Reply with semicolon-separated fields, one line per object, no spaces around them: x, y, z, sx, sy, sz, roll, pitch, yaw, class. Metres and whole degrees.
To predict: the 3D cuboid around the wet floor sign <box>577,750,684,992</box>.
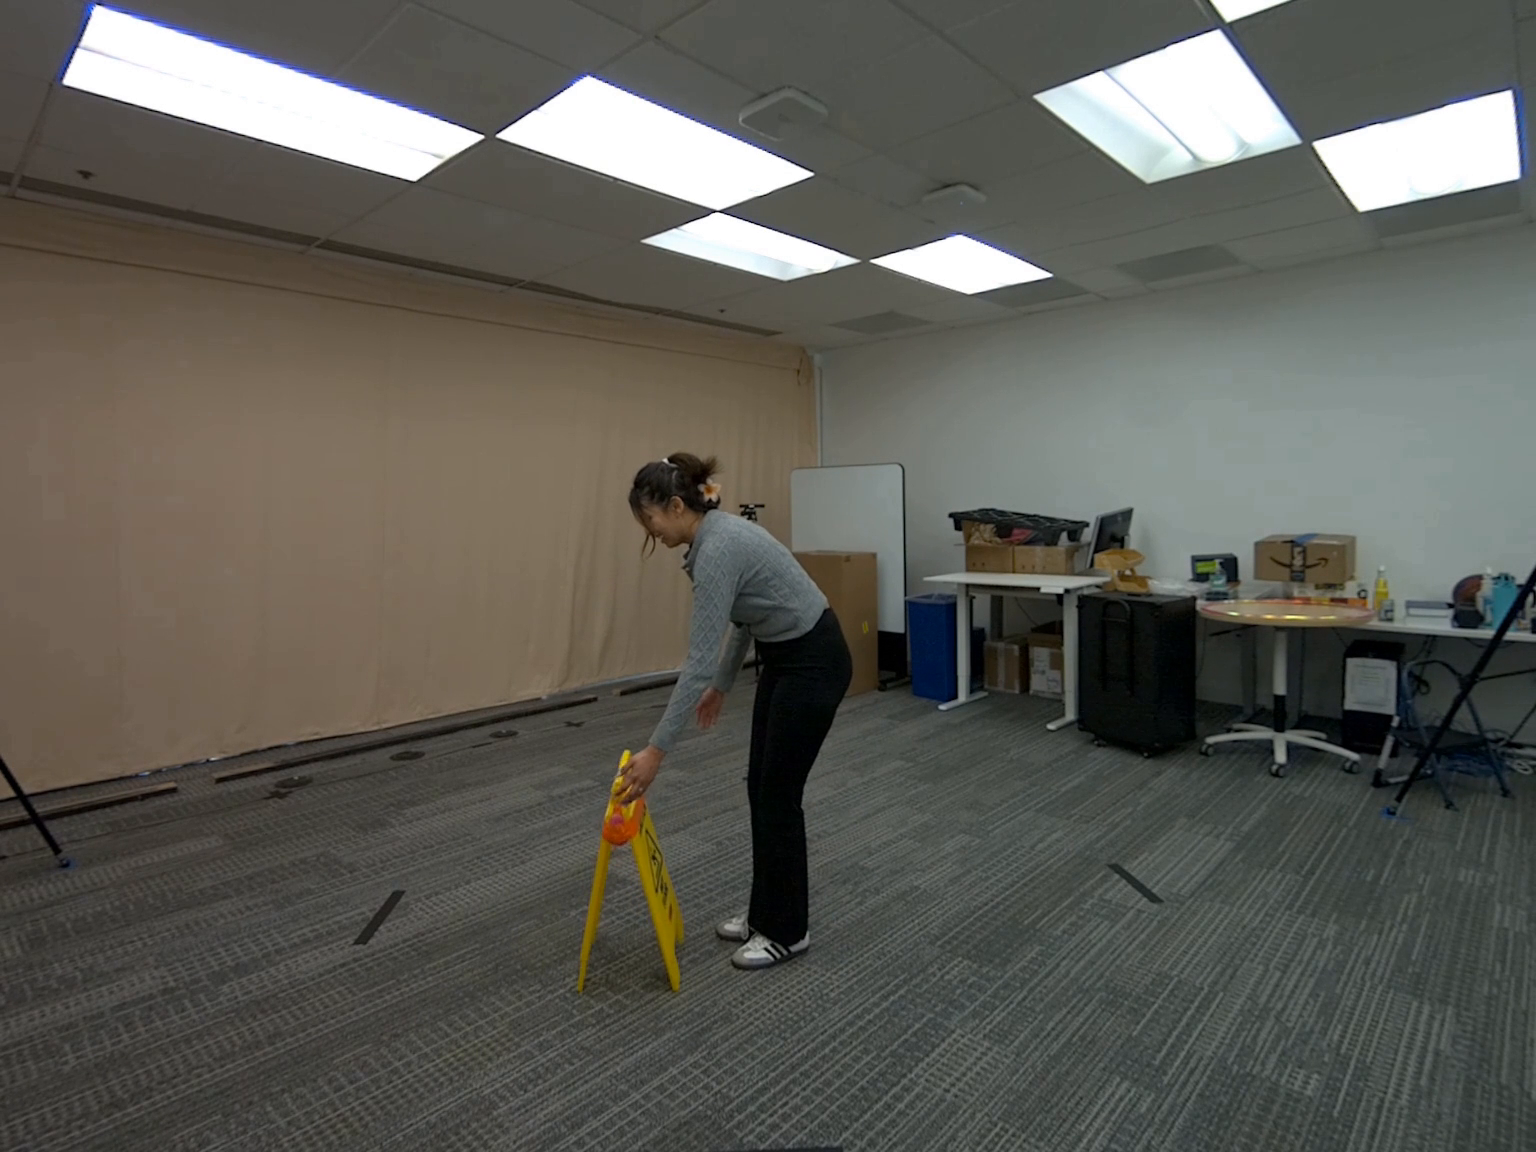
-0.412;0.854;2.492;0.290;0.641;0.284;-2;12;1;wet floor sign
